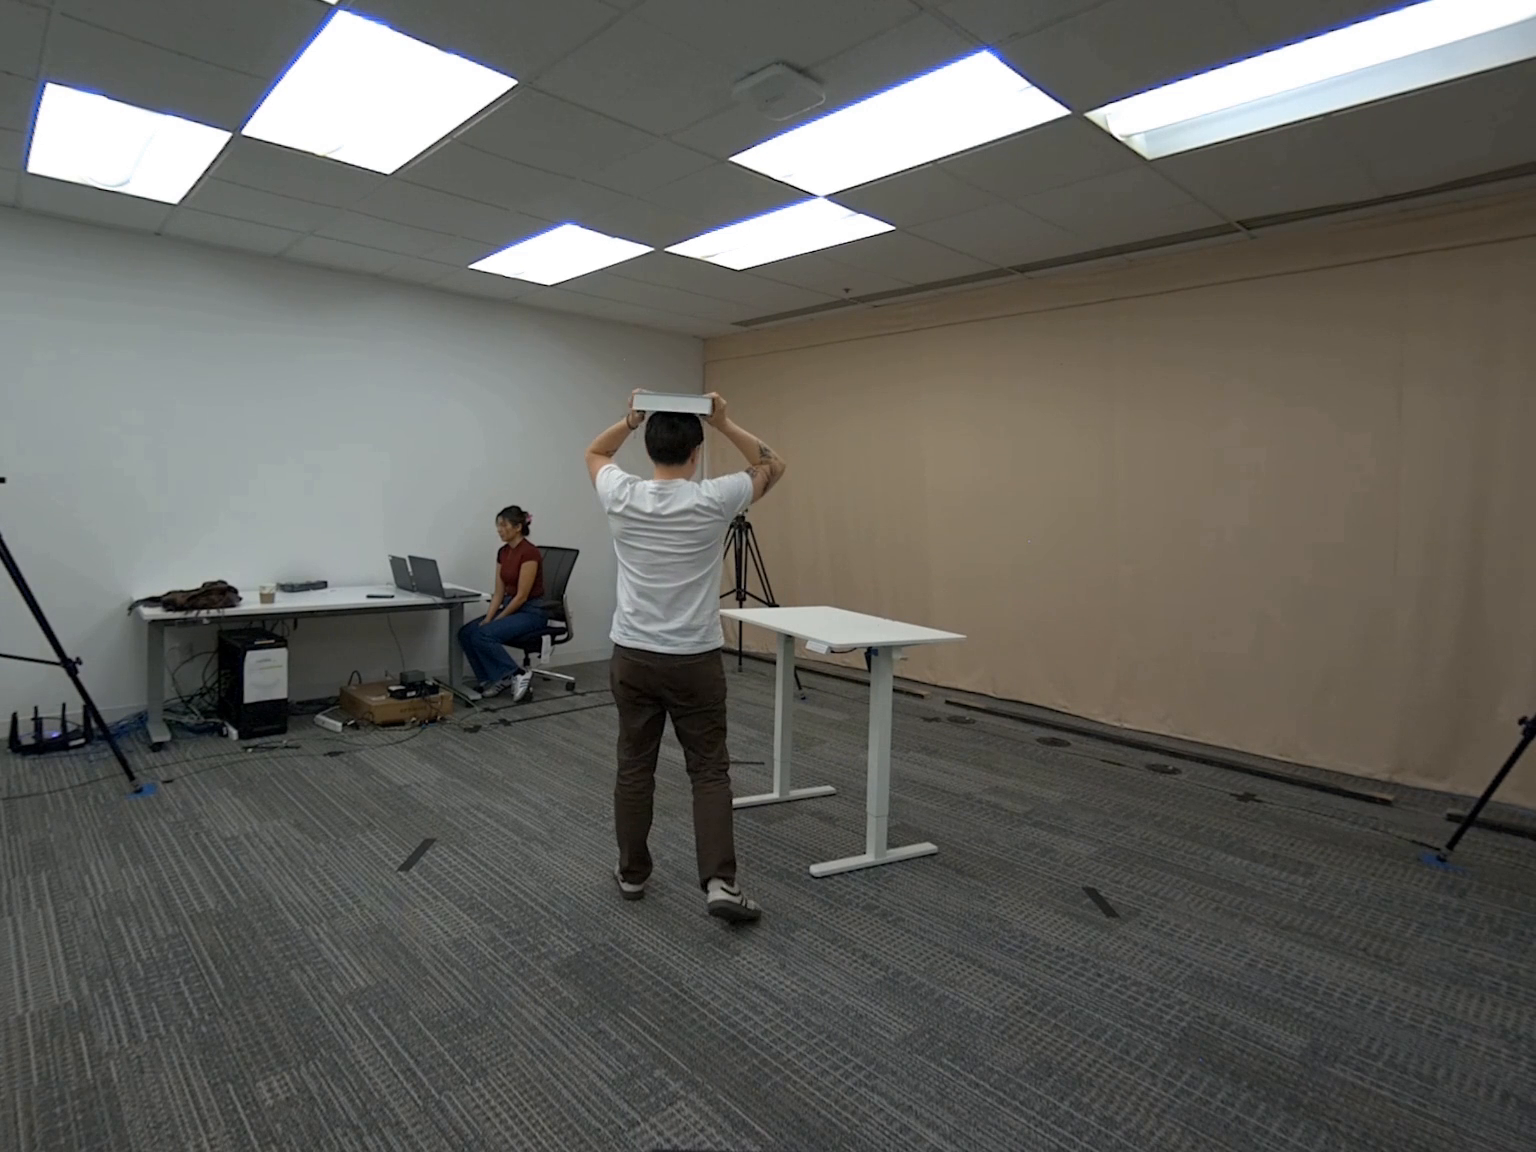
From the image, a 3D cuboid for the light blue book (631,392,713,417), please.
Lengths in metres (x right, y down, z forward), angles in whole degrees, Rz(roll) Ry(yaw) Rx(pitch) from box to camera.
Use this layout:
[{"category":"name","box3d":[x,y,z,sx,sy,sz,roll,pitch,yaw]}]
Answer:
[{"category":"light blue book","box3d":[-0.312,-0.580,2.832,0.262,0.059,0.192,5,9,4]}]
